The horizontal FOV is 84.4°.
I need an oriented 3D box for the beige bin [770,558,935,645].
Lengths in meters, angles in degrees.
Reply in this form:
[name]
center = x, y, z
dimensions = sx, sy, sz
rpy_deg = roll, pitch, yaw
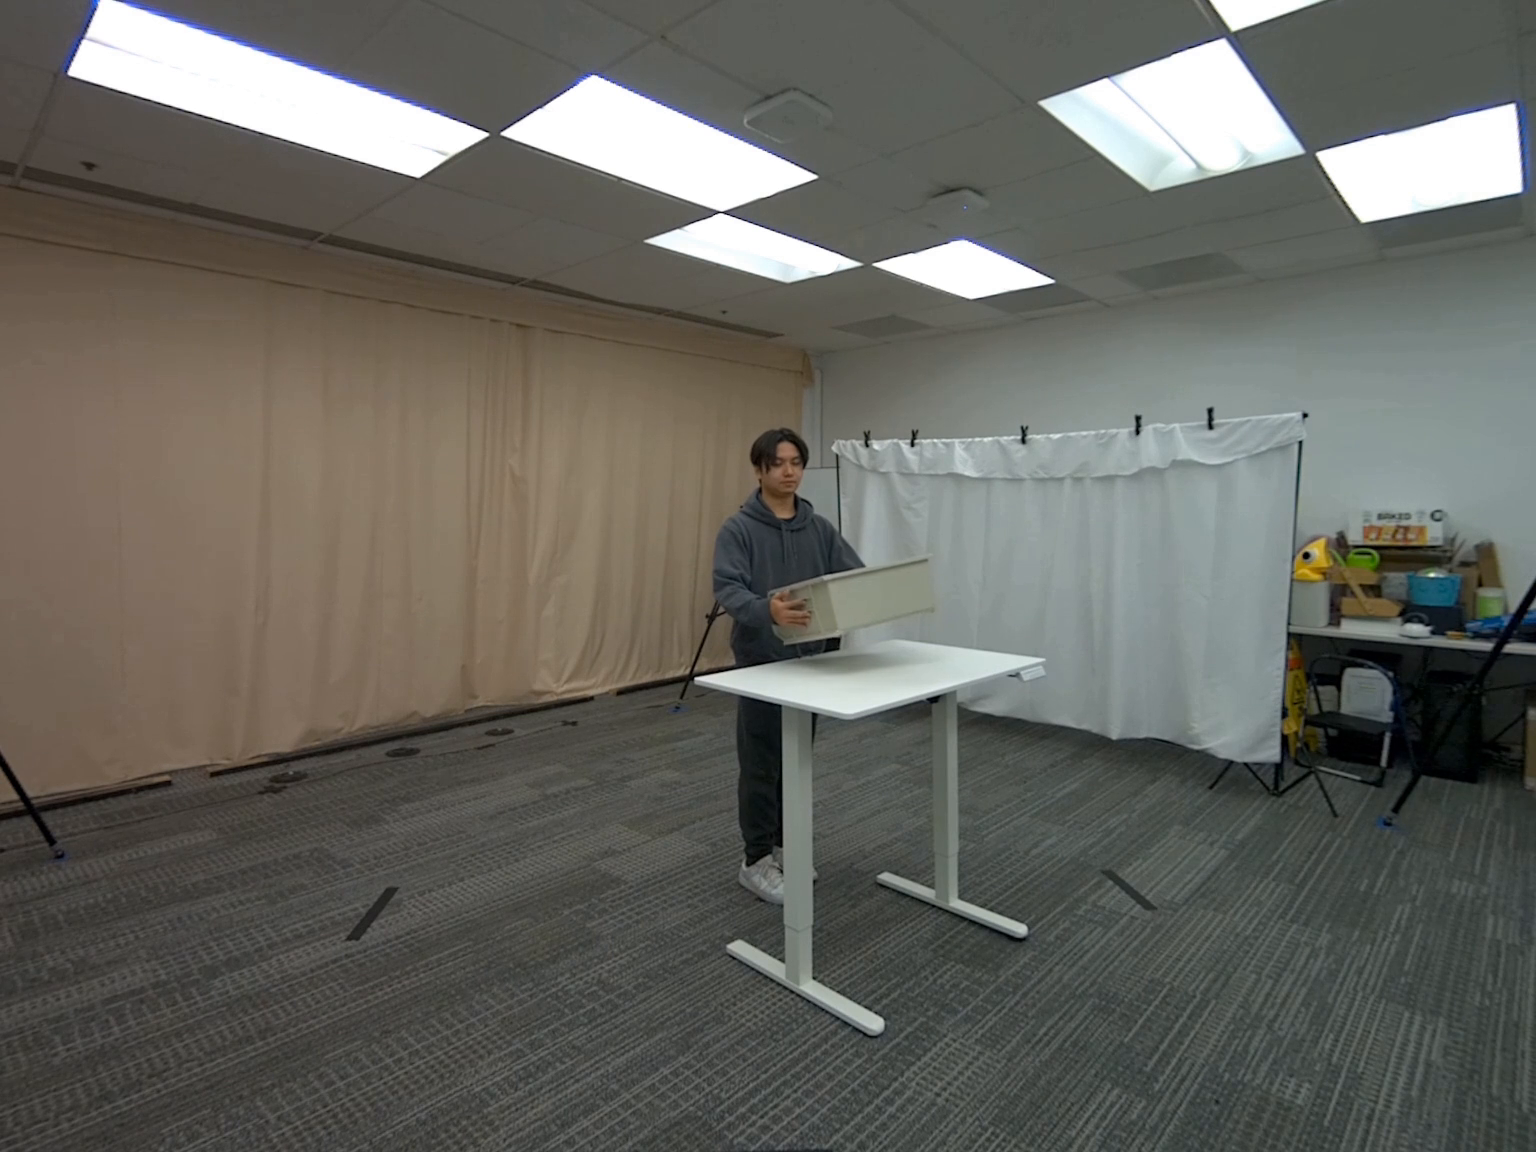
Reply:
[beige bin]
center = 0.271, 0.087, 2.708
dimensions = 0.412, 0.189, 0.385
rpy_deg = -12, -3, -29
